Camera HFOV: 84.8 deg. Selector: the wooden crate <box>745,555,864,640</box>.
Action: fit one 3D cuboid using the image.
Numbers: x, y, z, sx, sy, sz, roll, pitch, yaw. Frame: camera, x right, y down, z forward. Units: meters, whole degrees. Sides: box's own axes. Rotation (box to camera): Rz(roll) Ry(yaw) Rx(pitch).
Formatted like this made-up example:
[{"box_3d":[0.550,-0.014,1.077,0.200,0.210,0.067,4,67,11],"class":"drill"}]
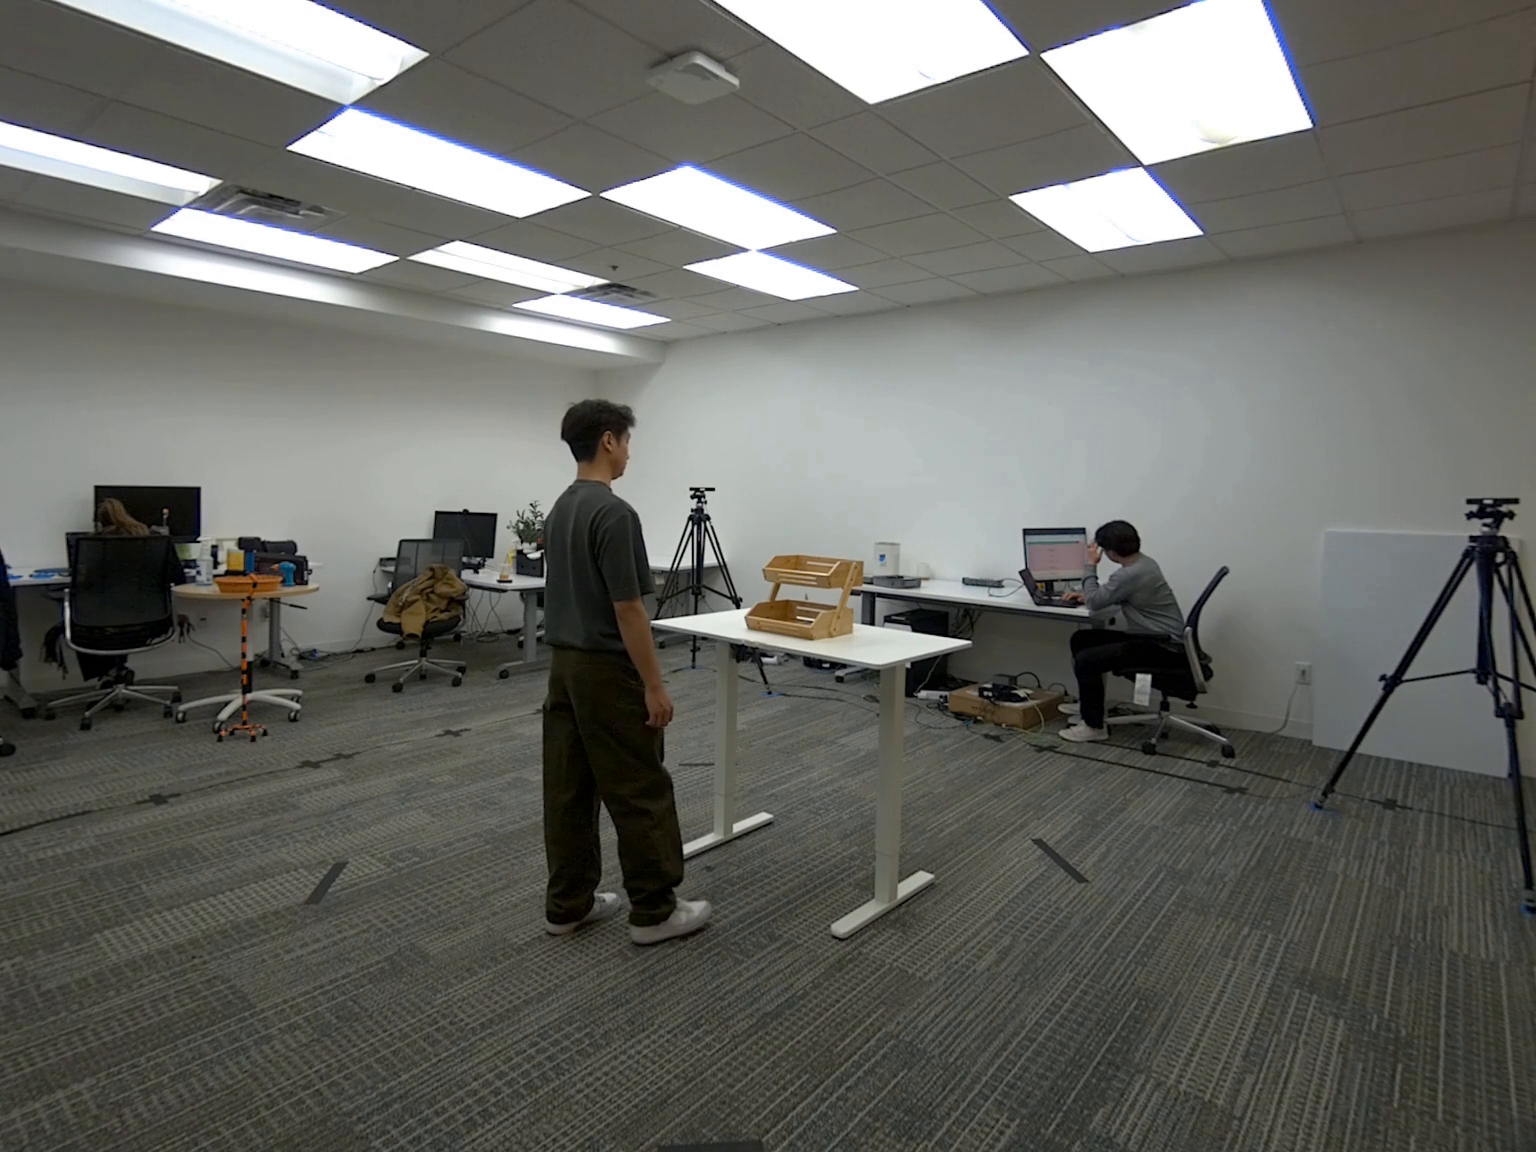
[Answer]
[{"box_3d":[0.119,0.062,3.073,0.336,0.272,0.293,6,5,41],"class":"wooden crate"}]
